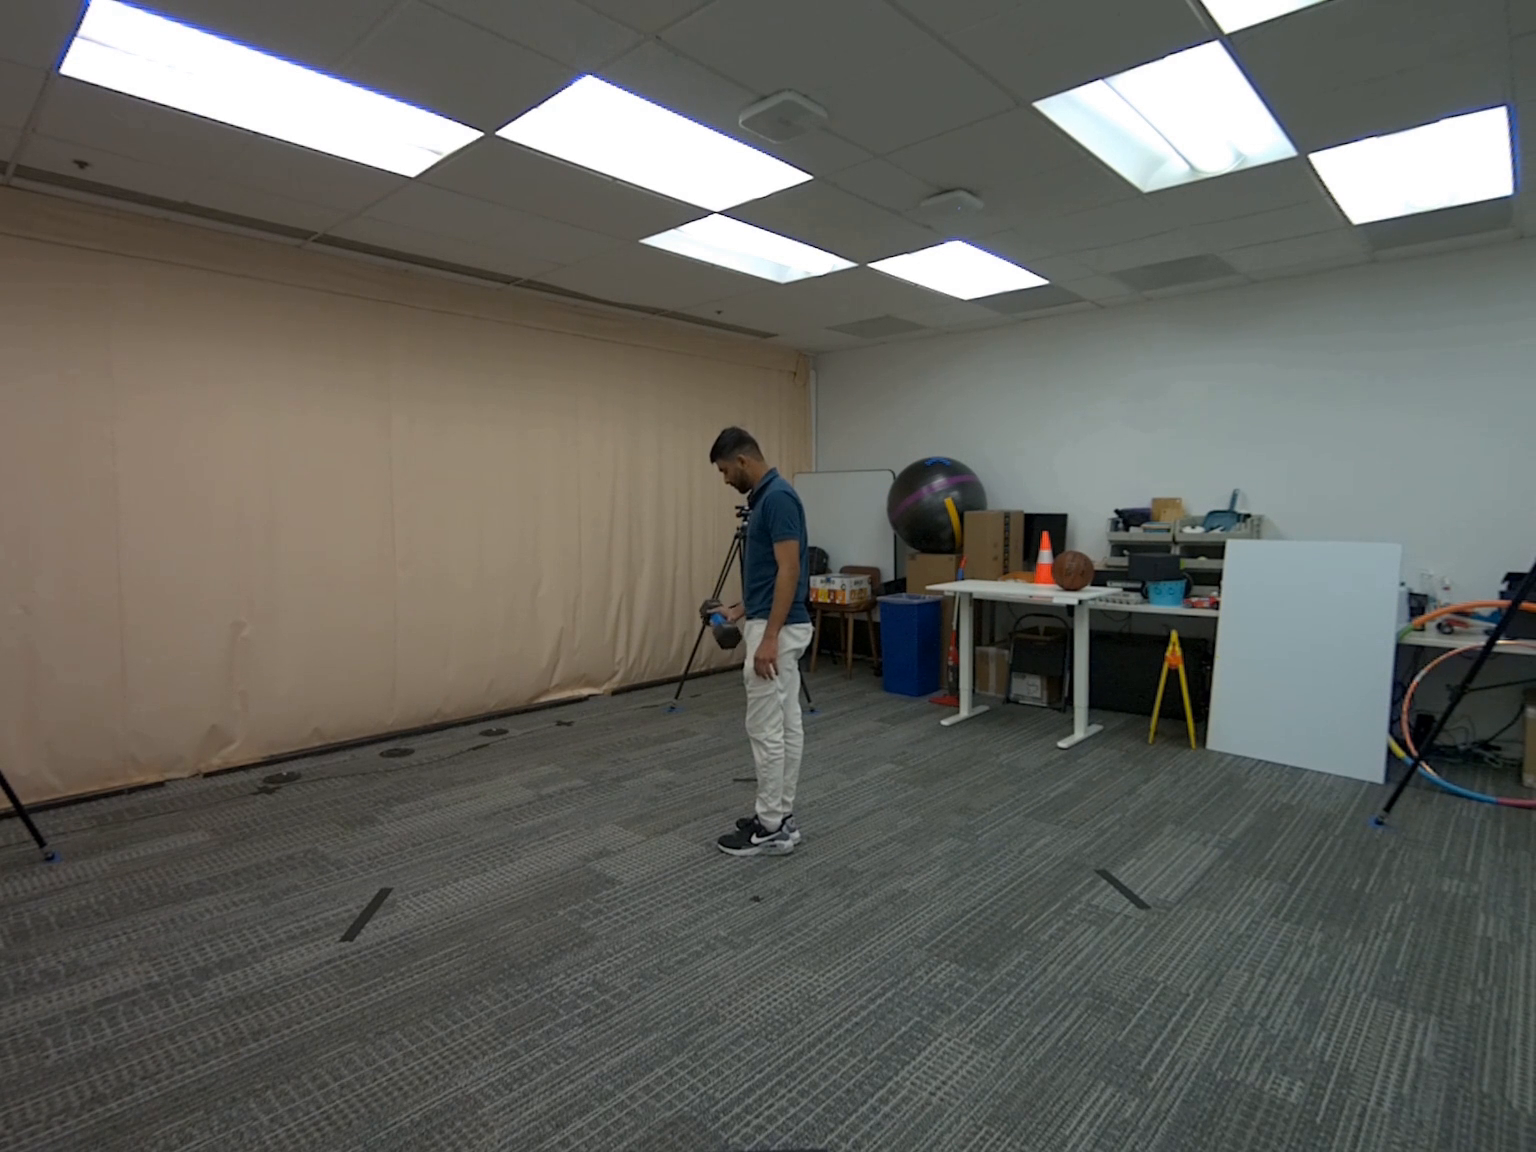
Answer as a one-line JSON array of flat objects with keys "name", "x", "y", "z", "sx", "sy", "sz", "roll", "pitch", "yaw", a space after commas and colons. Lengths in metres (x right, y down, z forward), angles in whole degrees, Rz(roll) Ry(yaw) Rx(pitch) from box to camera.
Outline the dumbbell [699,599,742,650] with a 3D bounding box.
[{"name": "dumbbell", "x": -0.203, "y": 0.201, "z": 3.703, "sx": 0.120, "sy": 0.108, "sz": 0.302, "roll": 0, "pitch": 23, "yaw": -21}]
